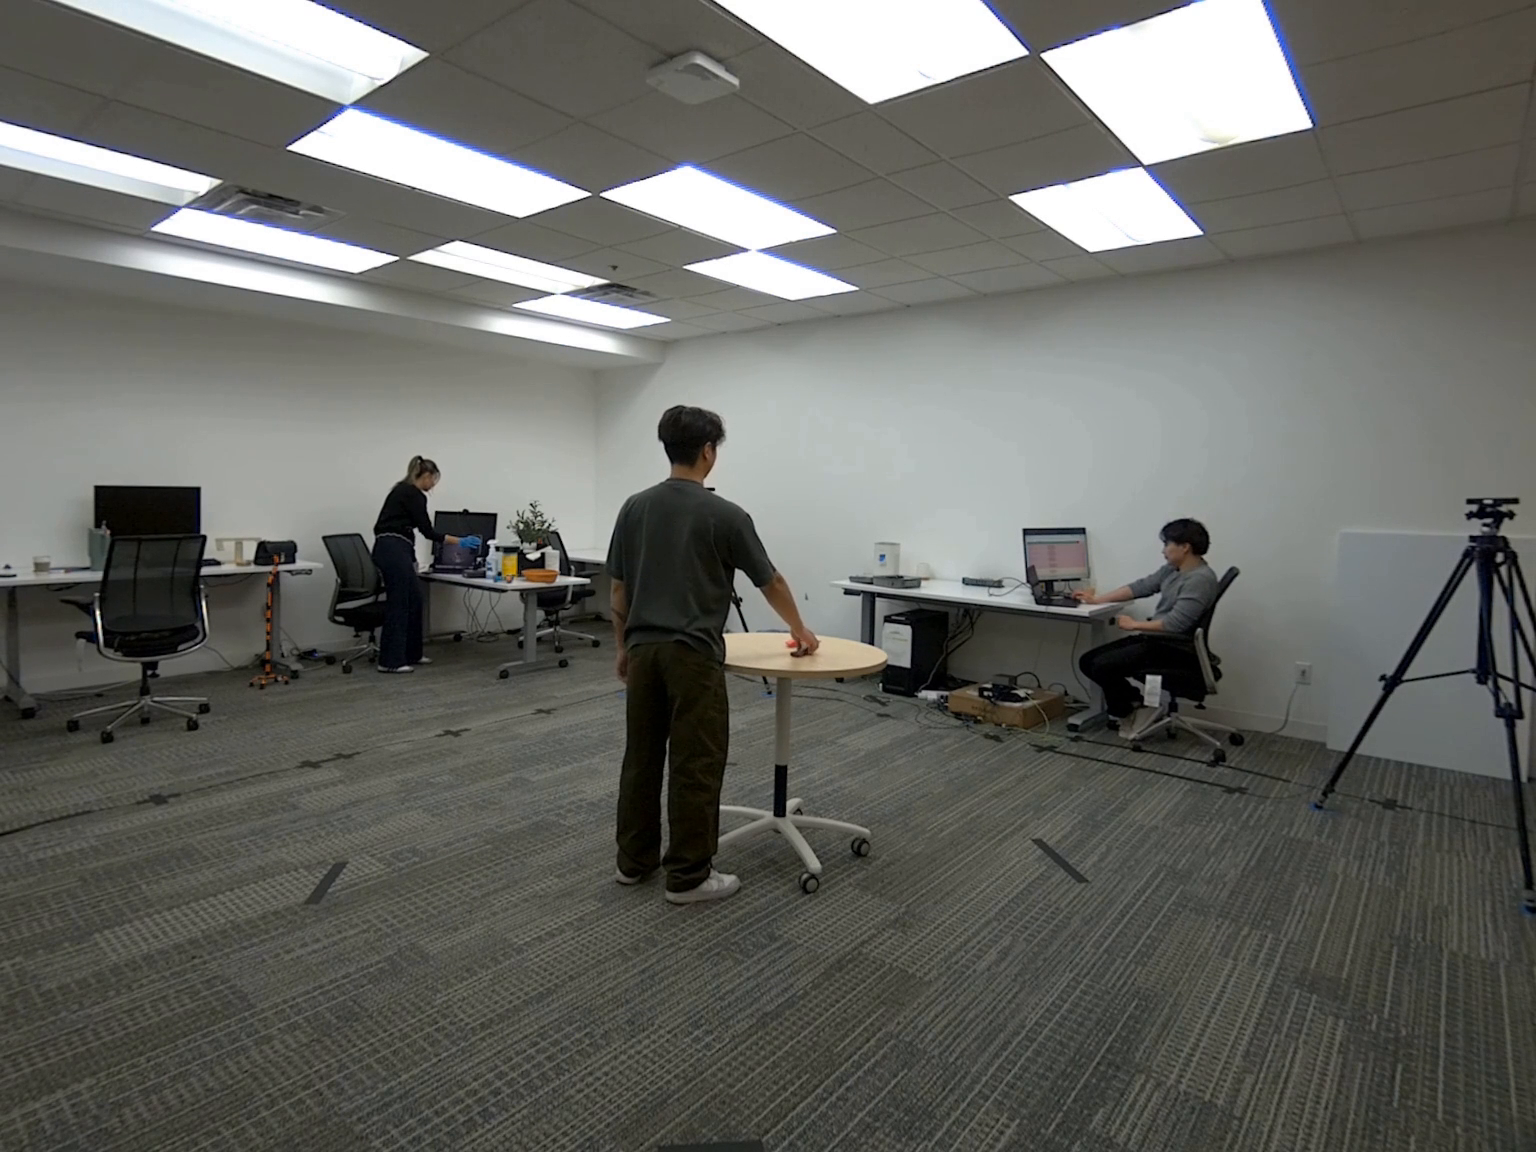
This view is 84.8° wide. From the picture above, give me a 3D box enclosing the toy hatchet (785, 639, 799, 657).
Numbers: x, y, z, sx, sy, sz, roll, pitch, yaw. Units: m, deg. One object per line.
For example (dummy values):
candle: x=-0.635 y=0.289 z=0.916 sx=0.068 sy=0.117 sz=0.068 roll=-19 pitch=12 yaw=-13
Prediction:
toy hatchet: x=0.104 y=0.262 z=3.221 sx=0.134 sy=0.029 sz=0.265 roll=0 pitch=6 yaw=20
